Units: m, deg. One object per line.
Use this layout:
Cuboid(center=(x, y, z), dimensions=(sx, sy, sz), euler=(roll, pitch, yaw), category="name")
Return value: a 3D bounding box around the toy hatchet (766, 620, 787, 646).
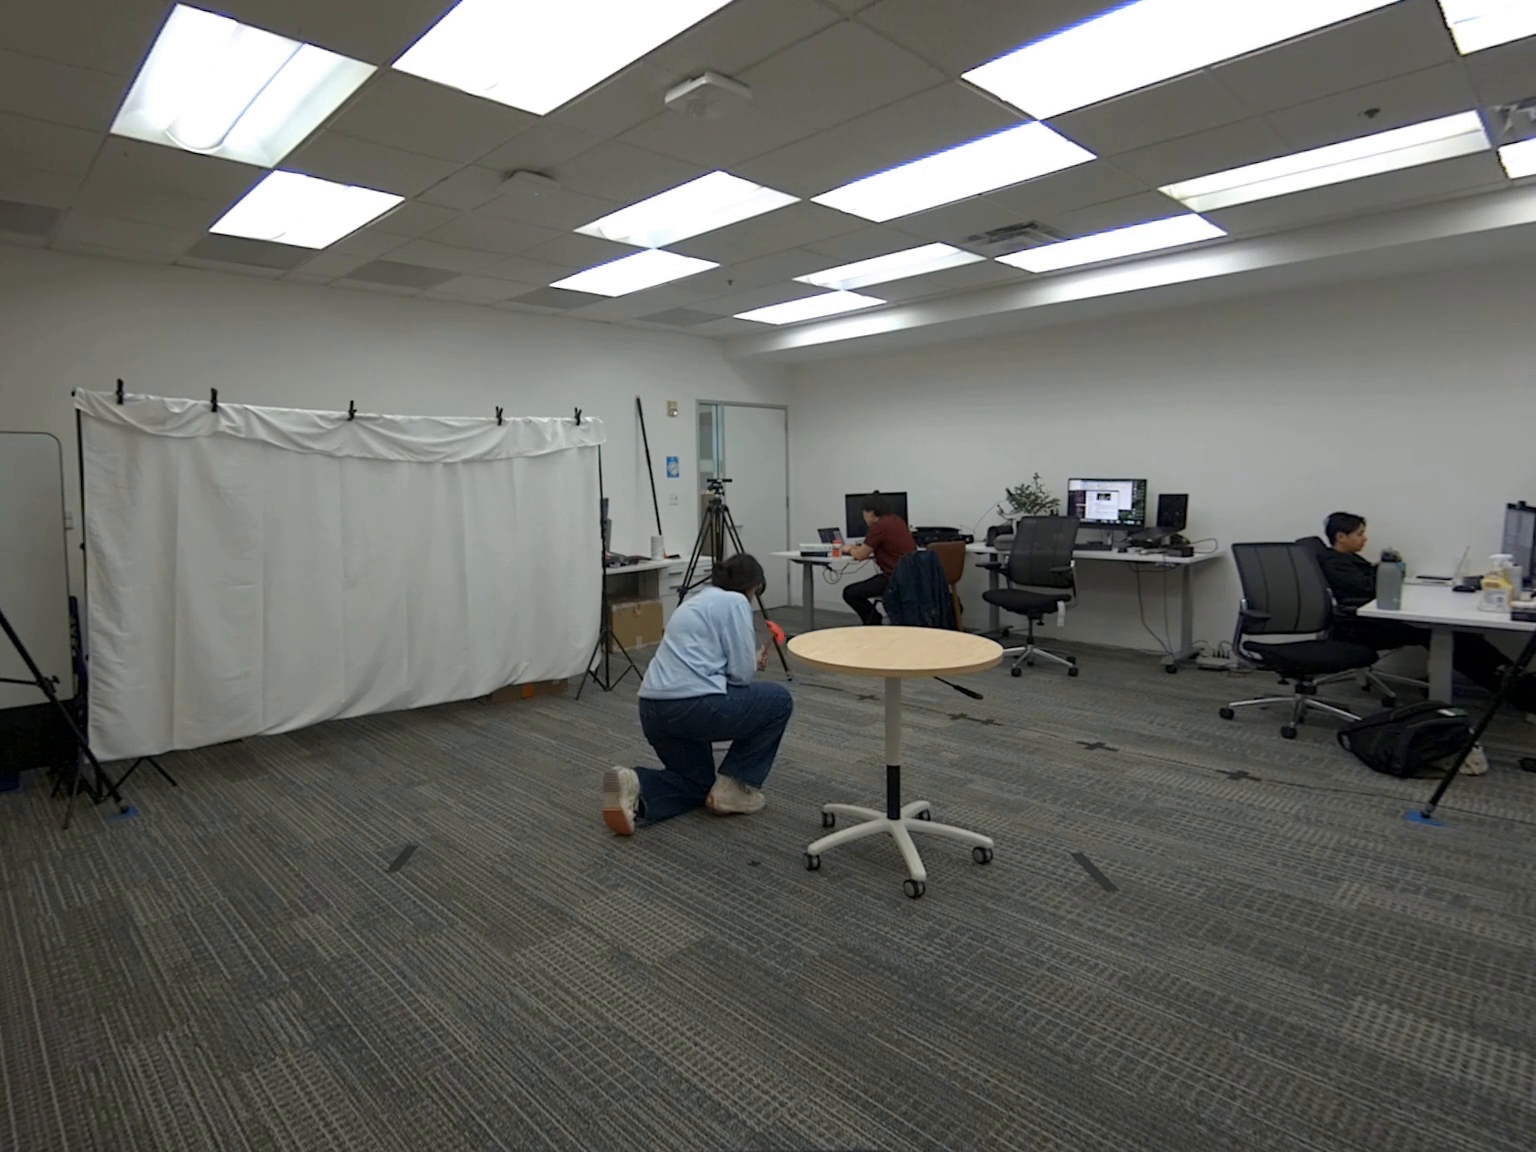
Cuboid(center=(0.010, 0.342, 4.172), dimensions=(0.127, 0.275, 0.030), euler=(35, -40, -24), category="toy hatchet")
